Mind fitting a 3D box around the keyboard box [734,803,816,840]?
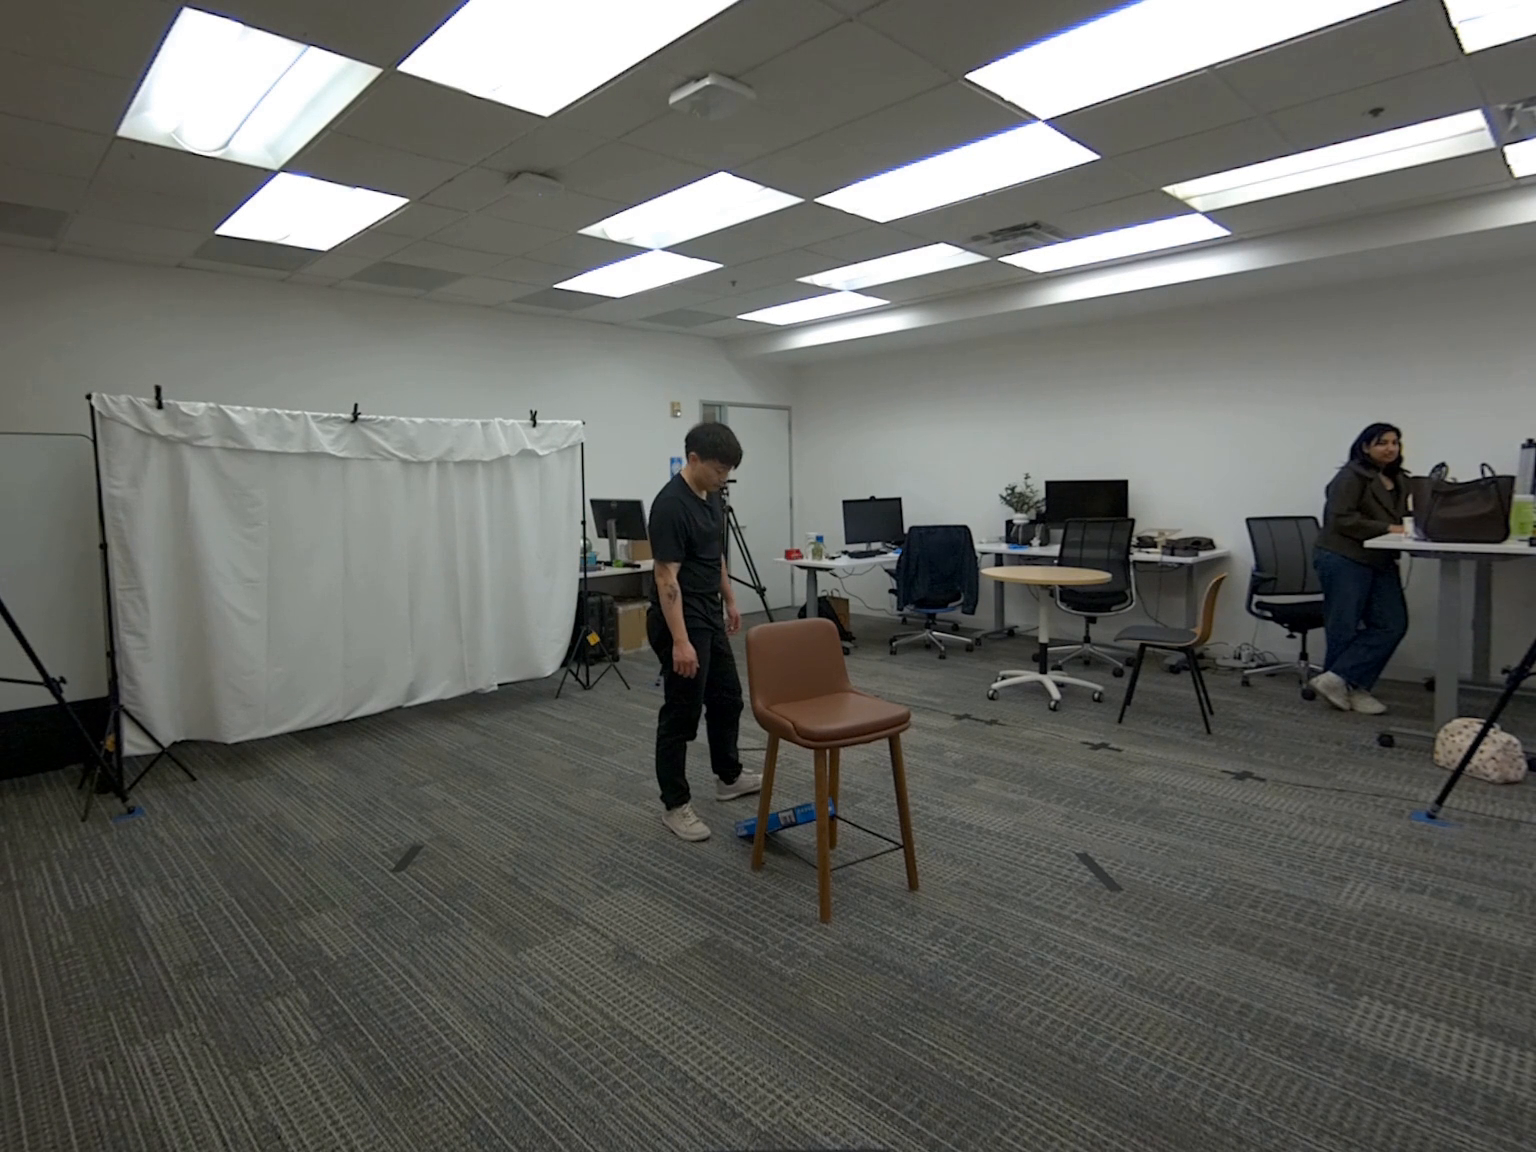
[{"bbox_3d":[0.052,0.918,3.223,0.171,0.060,0.439,-4,-18,-34],"label":"keyboard box"}]
